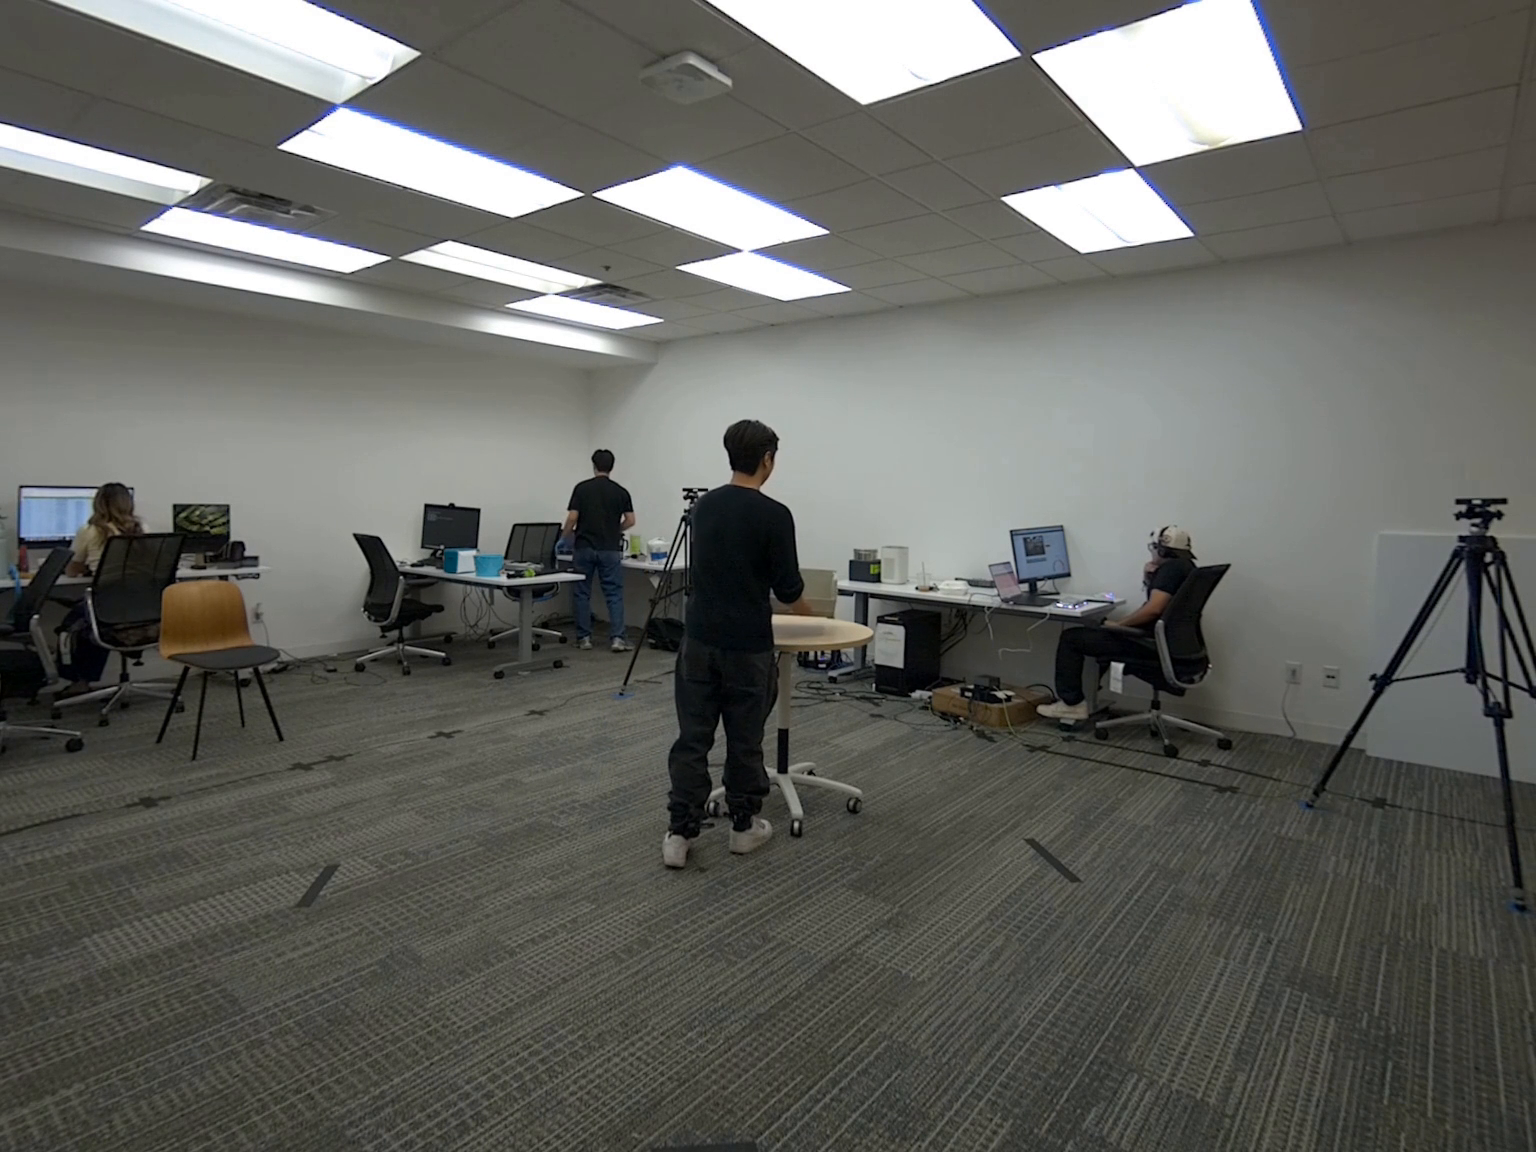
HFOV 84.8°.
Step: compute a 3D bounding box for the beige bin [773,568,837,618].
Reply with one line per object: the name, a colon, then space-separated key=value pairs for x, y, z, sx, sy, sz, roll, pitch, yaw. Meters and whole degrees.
beige bin: x=0.076 y=0.068 z=3.704 sx=0.425 sy=0.188 sz=0.376 roll=2 pitch=4 yaw=5
